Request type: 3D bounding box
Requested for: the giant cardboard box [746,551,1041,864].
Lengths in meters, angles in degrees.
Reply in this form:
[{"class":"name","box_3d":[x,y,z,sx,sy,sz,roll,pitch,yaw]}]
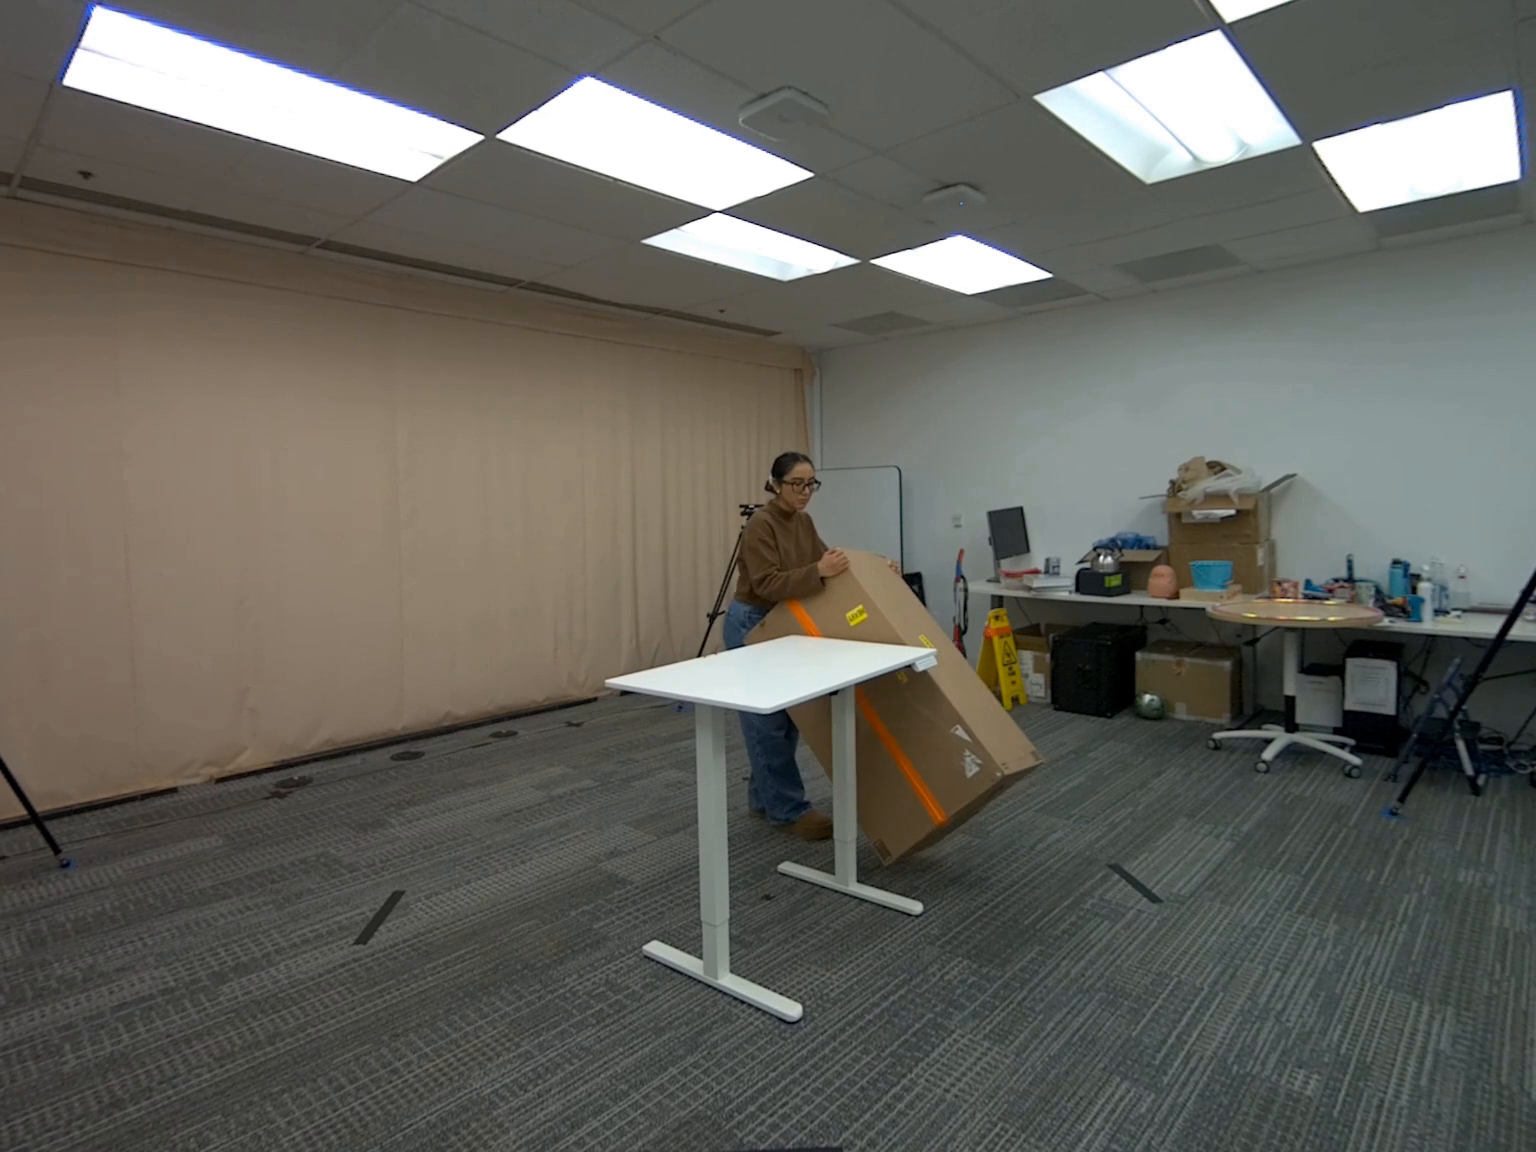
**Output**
[{"class":"giant cardboard box","box_3d":[0.461,0.478,3.273,0.581,1.054,0.412,-47,-29,24]}]
